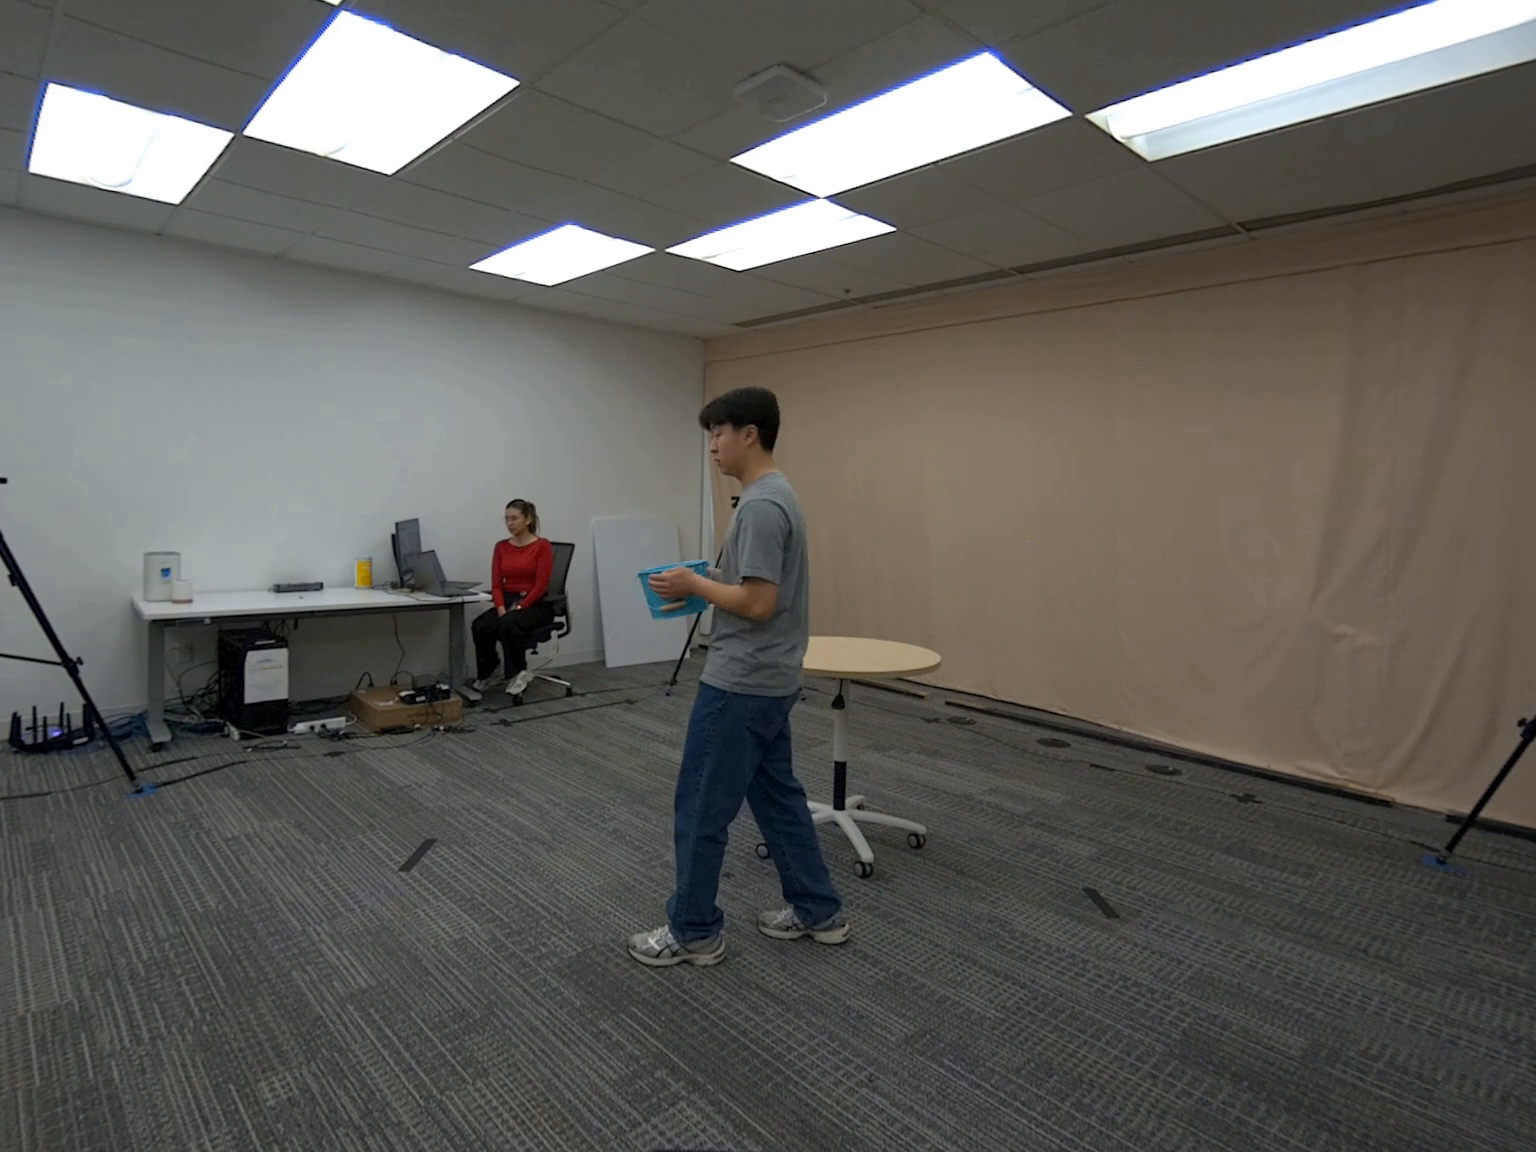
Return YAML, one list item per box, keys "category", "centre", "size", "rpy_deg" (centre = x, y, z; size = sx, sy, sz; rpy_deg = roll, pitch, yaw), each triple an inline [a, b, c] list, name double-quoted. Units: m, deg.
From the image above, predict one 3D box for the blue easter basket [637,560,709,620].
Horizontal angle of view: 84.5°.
- category: "blue easter basket"
  centre: [-0.284, 0.040, 2.647]
  size: [0.243, 0.155, 0.244]
  rpy_deg: [-8, 5, -1]
